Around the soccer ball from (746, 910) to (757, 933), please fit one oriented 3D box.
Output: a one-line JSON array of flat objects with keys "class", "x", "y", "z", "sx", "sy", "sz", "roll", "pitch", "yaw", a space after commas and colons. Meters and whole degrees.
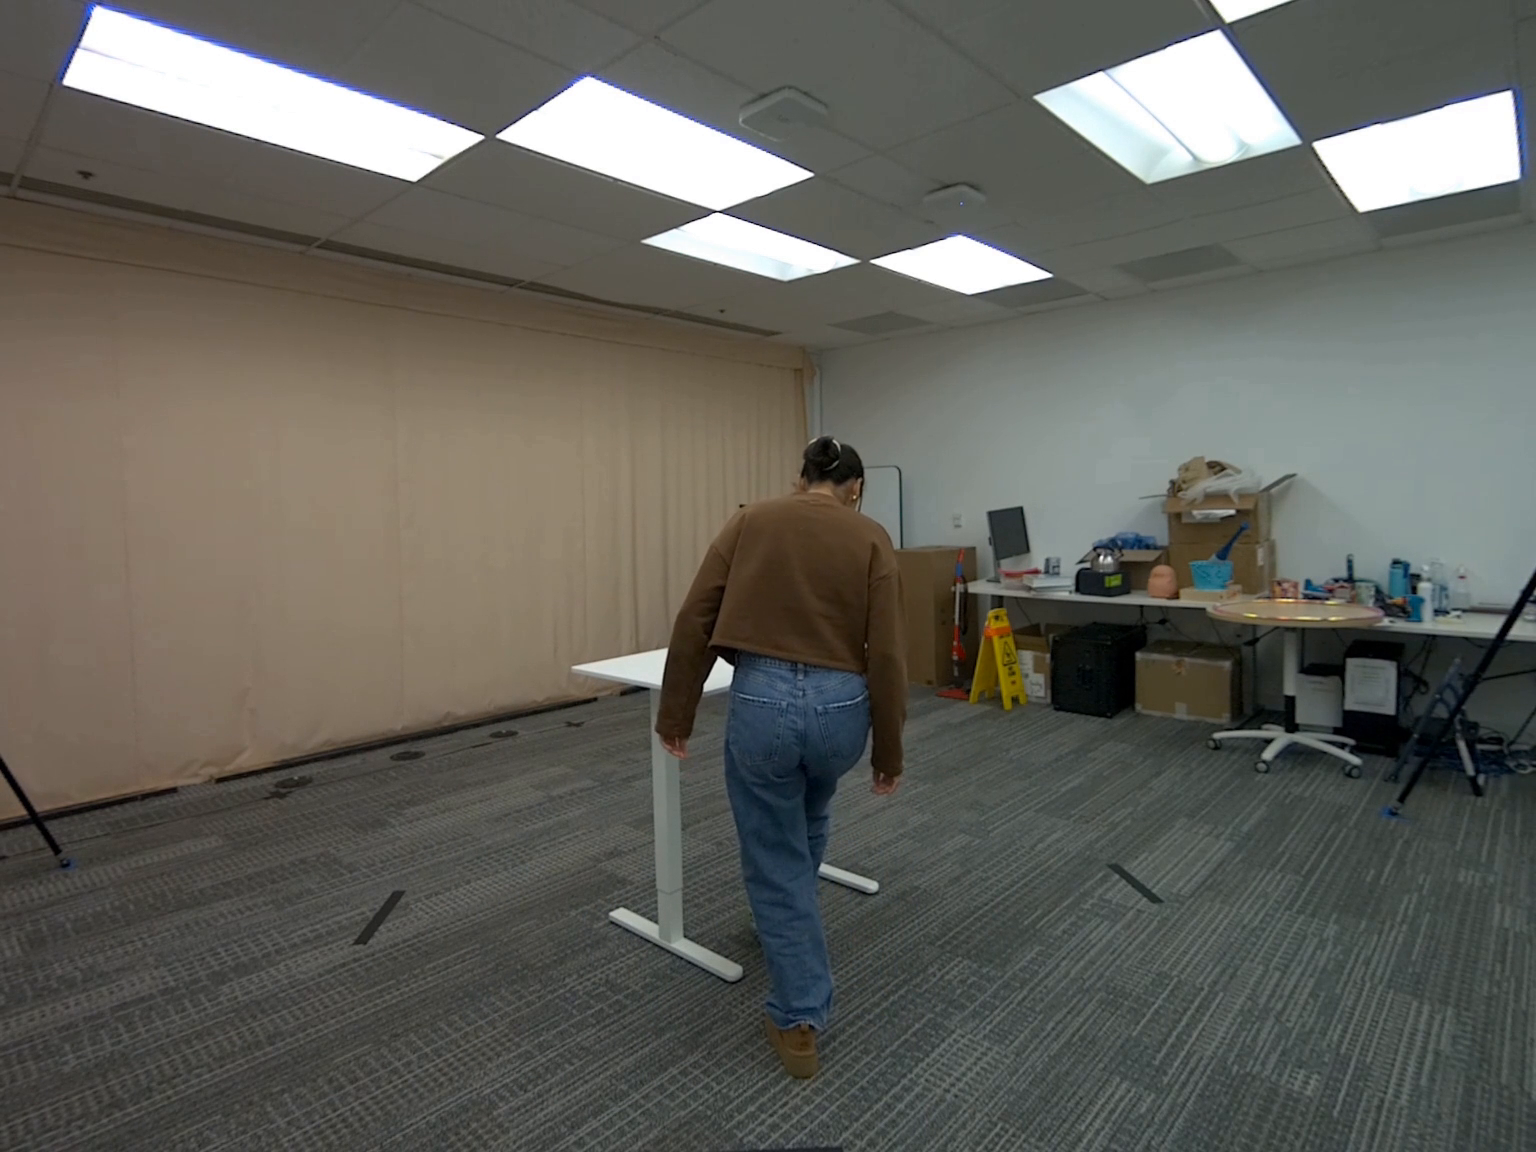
[{"class": "soccer ball", "x": 0.033, "y": 1.074, "z": 2.649, "sx": 0.187, "sy": 0.187, "sz": 0.188, "roll": -1, "pitch": 4, "yaw": -2}]
